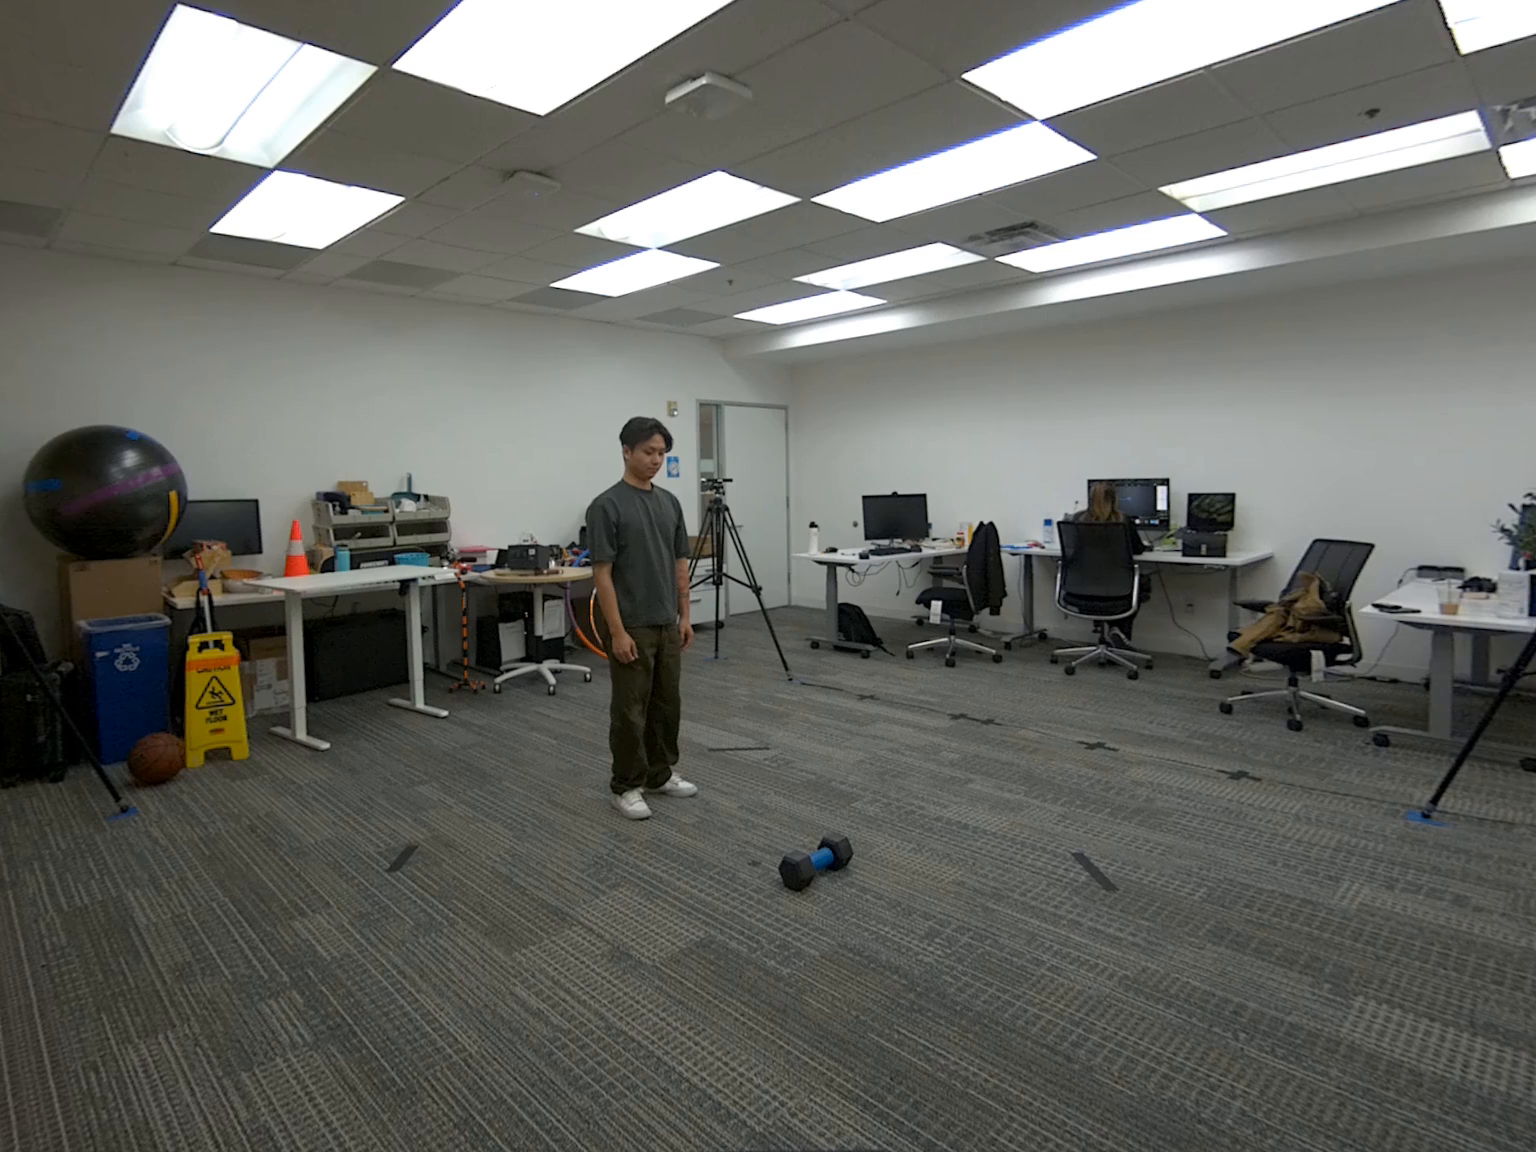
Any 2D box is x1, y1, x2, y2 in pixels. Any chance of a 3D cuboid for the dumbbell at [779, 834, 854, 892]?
[{"bbox_3d":[0.175,0.999,2.998,0.286,0.121,0.113,-7,38,-46],"label":"dumbbell"}]
